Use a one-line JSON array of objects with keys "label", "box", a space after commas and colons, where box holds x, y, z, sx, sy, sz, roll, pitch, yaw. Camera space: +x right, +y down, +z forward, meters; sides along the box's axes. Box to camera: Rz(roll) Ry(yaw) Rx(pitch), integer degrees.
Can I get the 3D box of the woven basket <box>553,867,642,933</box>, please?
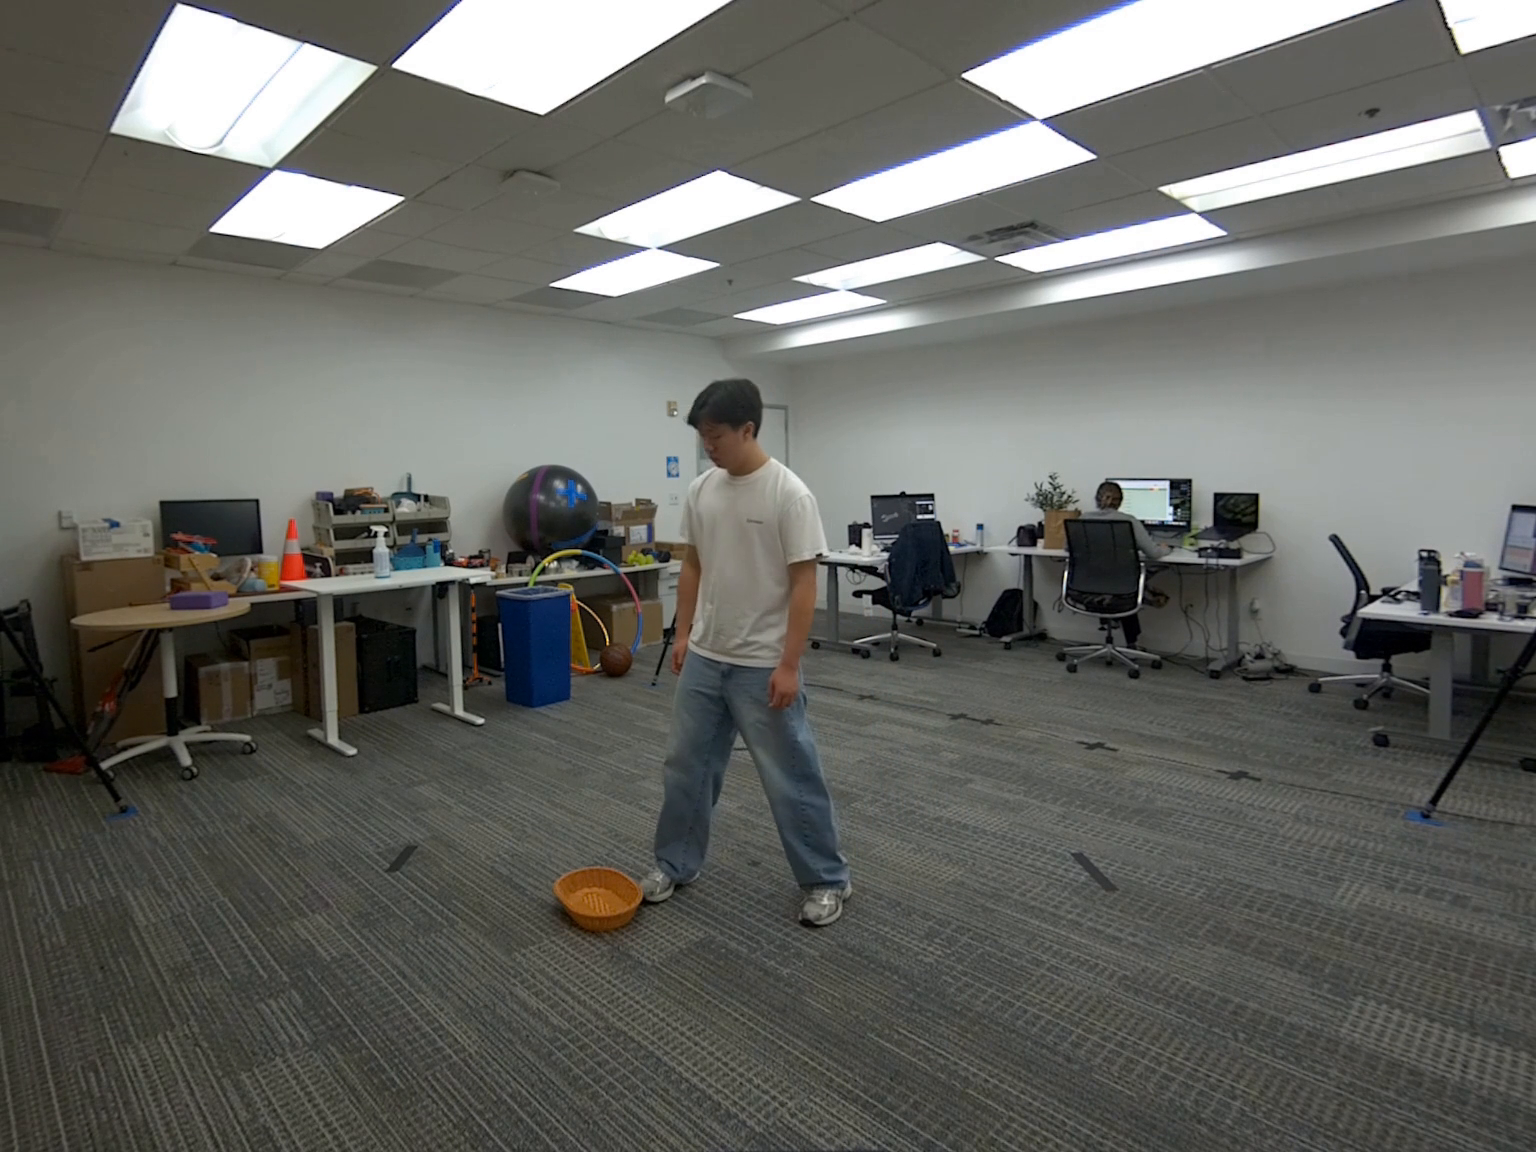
[{"label": "woven basket", "box": [-0.549, 1.054, 2.788, 0.246, 0.073, 0.361, -4, 7, -34]}]
